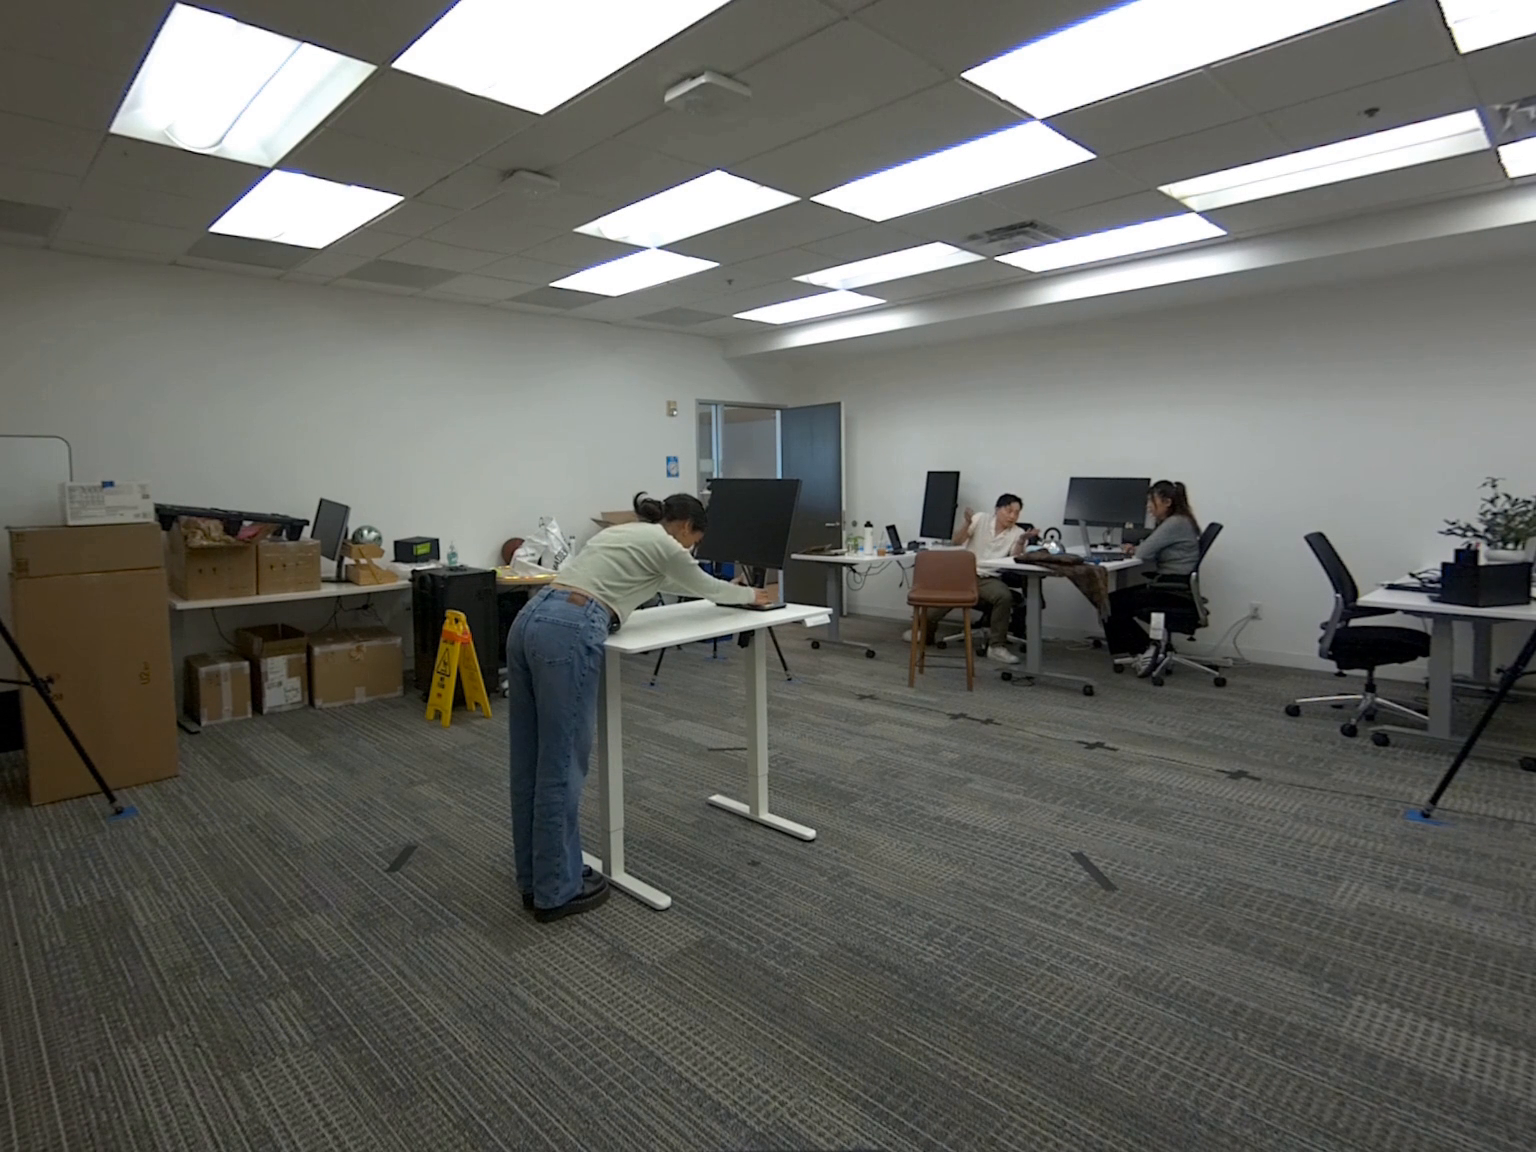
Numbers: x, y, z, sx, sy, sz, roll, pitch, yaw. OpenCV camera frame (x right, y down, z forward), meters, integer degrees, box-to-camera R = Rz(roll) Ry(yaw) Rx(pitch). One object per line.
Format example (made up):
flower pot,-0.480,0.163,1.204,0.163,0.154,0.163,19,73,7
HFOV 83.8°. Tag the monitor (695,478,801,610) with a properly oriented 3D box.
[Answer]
monitor,-0.063,-0.135,3.453,0.182,0.521,0.556,0,4,-42
